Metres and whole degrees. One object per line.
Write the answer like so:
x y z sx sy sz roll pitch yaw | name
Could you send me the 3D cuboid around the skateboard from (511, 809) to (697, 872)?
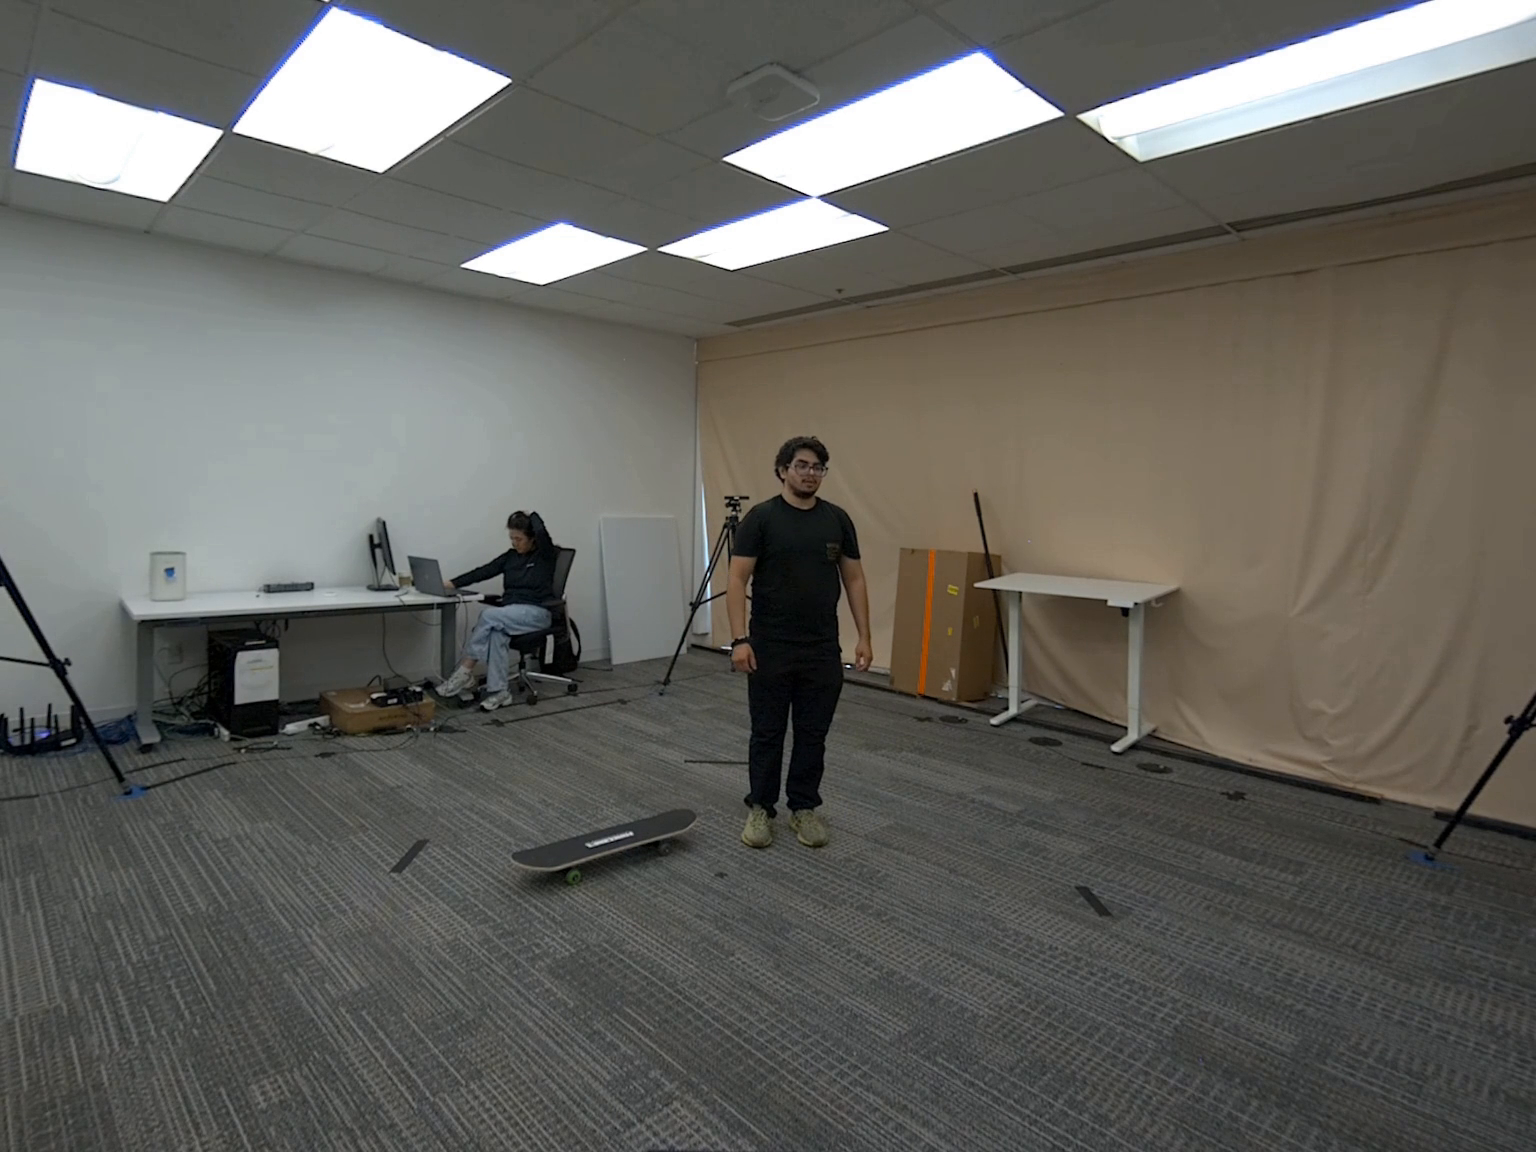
-0.607 1.031 3.190 0.767 0.110 0.198 -3 6 -42 | skateboard
